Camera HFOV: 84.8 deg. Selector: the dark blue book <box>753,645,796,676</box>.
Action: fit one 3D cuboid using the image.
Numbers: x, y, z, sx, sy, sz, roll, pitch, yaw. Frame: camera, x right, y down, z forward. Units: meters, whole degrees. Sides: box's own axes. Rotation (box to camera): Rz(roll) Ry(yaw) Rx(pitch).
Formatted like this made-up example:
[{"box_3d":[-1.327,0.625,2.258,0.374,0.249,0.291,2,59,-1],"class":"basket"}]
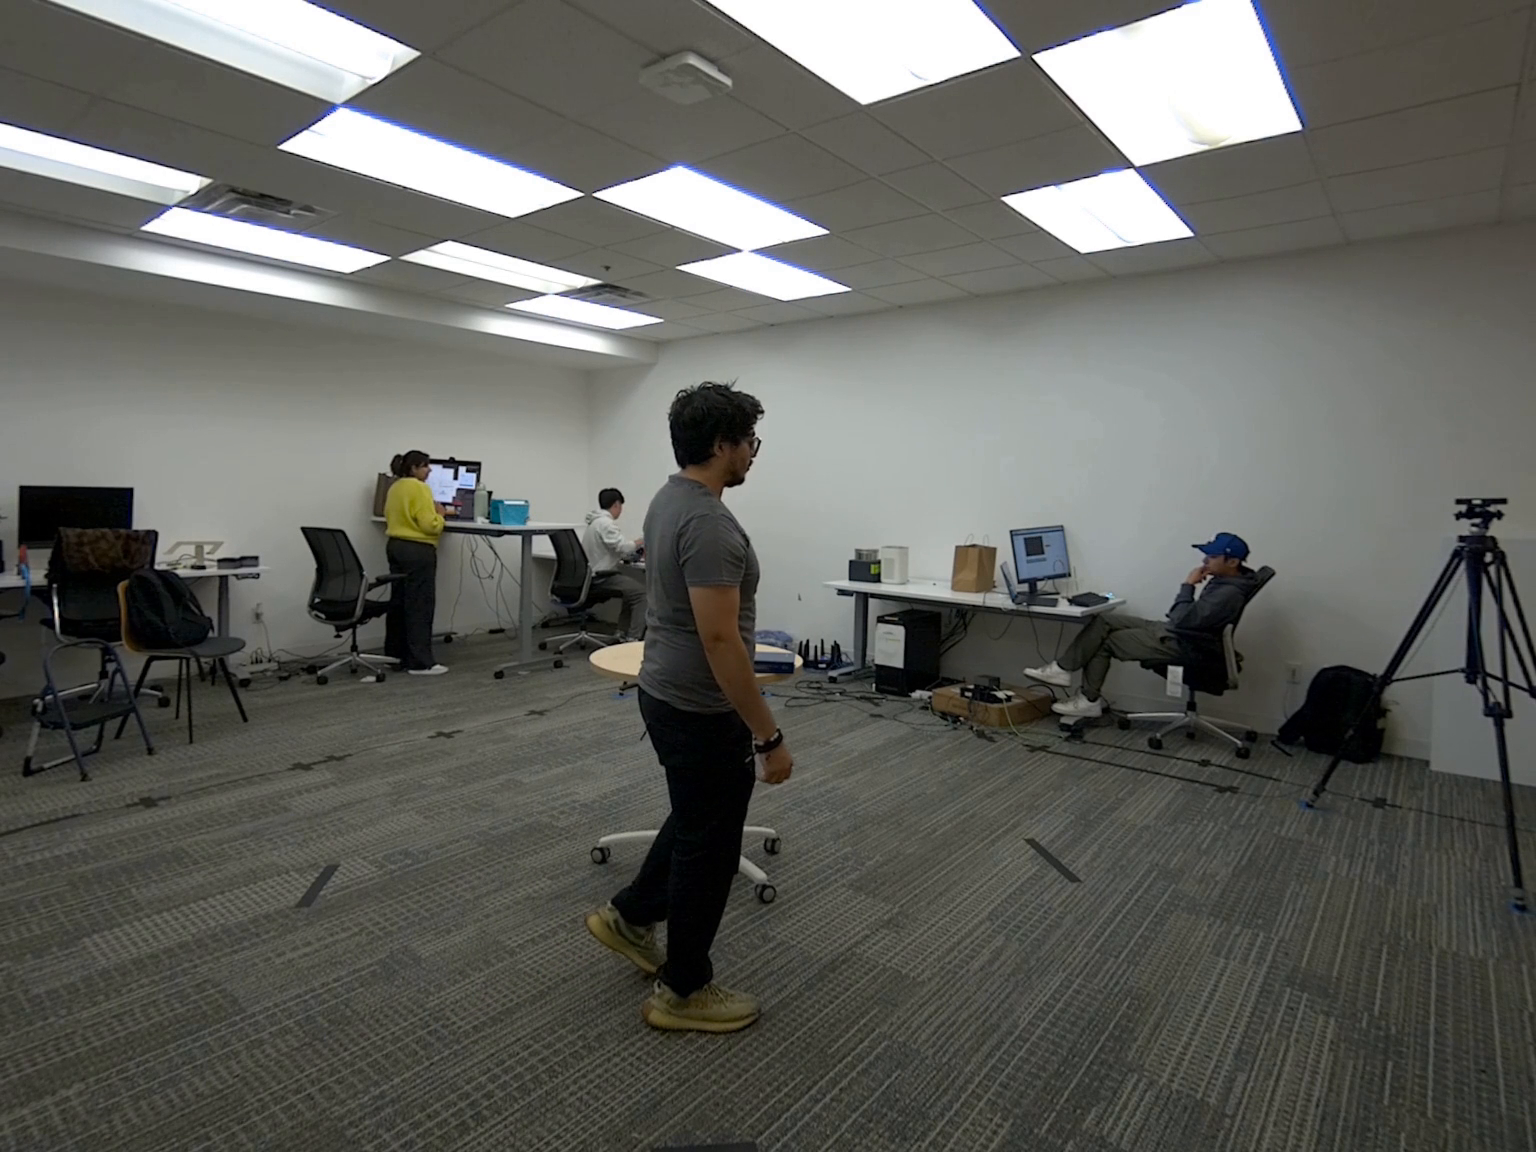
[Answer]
[{"box_3d":[-0.047,0.288,2.885,0.247,0.045,0.163,1,5,5],"class":"dark blue book"}]
